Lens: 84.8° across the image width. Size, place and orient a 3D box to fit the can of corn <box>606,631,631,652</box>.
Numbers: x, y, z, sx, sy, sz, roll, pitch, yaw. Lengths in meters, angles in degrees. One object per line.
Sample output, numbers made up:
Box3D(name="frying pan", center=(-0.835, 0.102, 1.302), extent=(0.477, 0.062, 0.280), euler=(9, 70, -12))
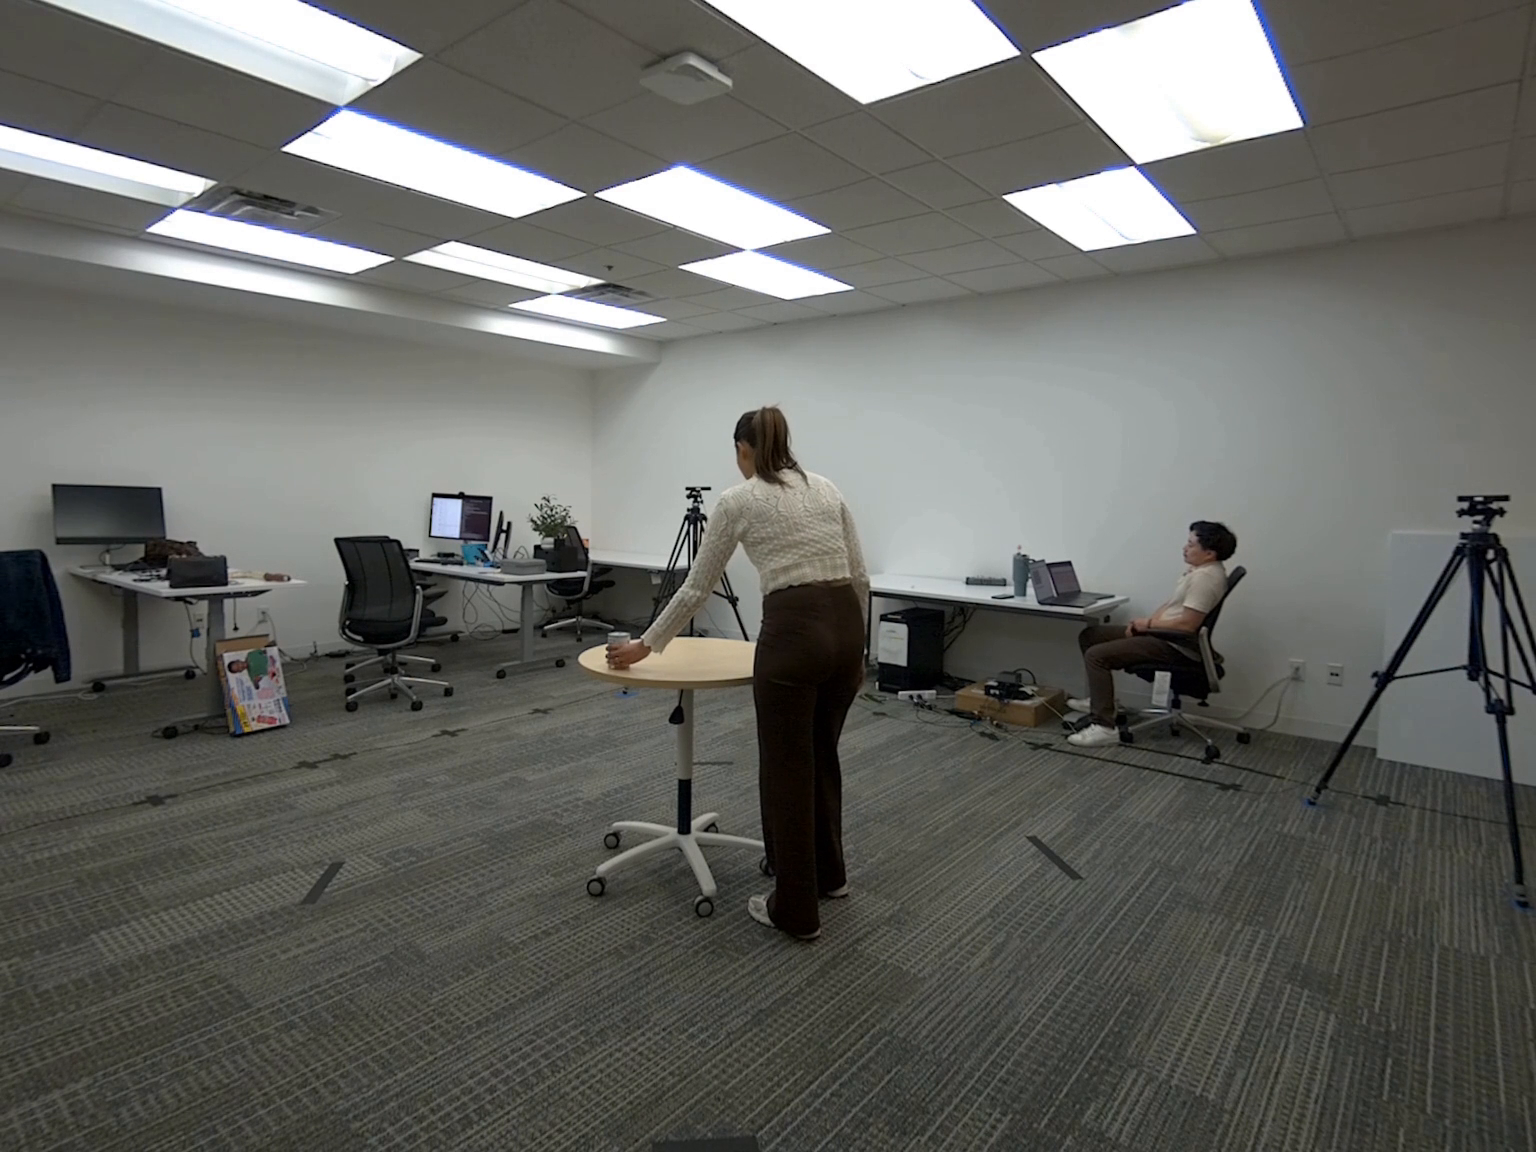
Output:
Box3D(name="can of corn", center=(-0.510, 0.249, 2.856), extent=(0.074, 0.110, 0.075), euler=(0, 6, -2))
